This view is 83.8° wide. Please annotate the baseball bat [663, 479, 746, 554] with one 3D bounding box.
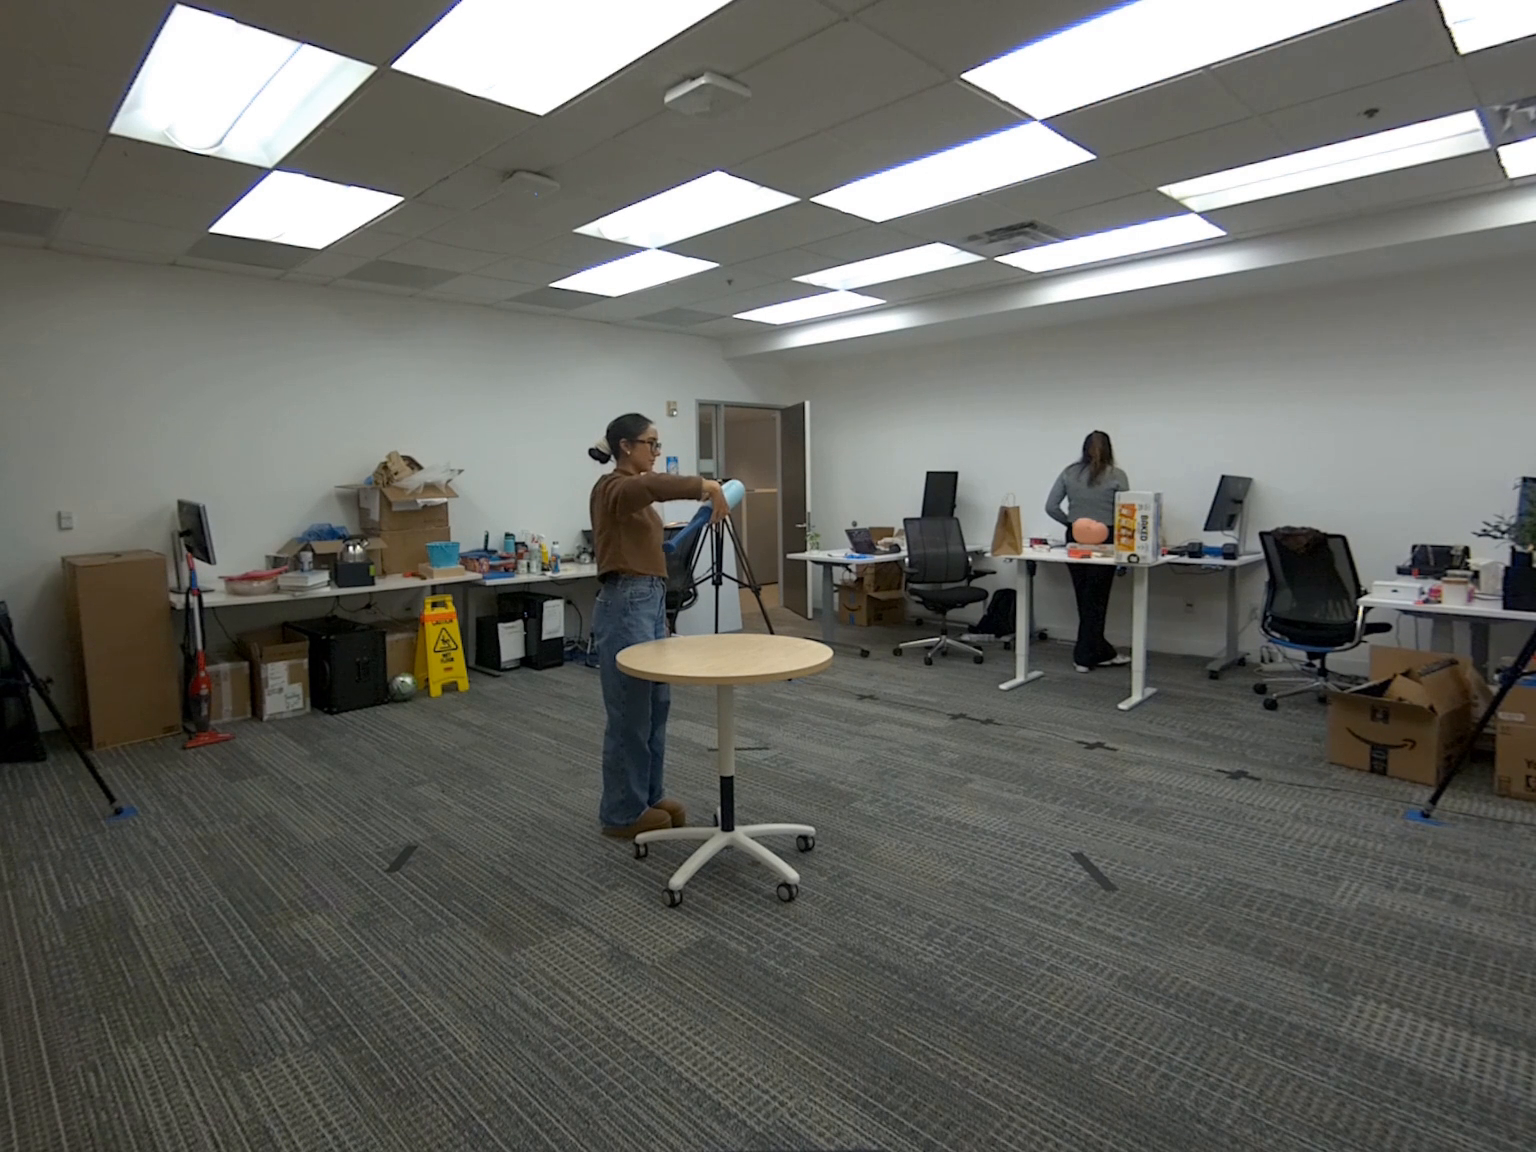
[{"bbox_3d":[-0.229,-0.211,3.077,0.091,0.087,0.543,1,27,26],"label":"baseball bat"}]
